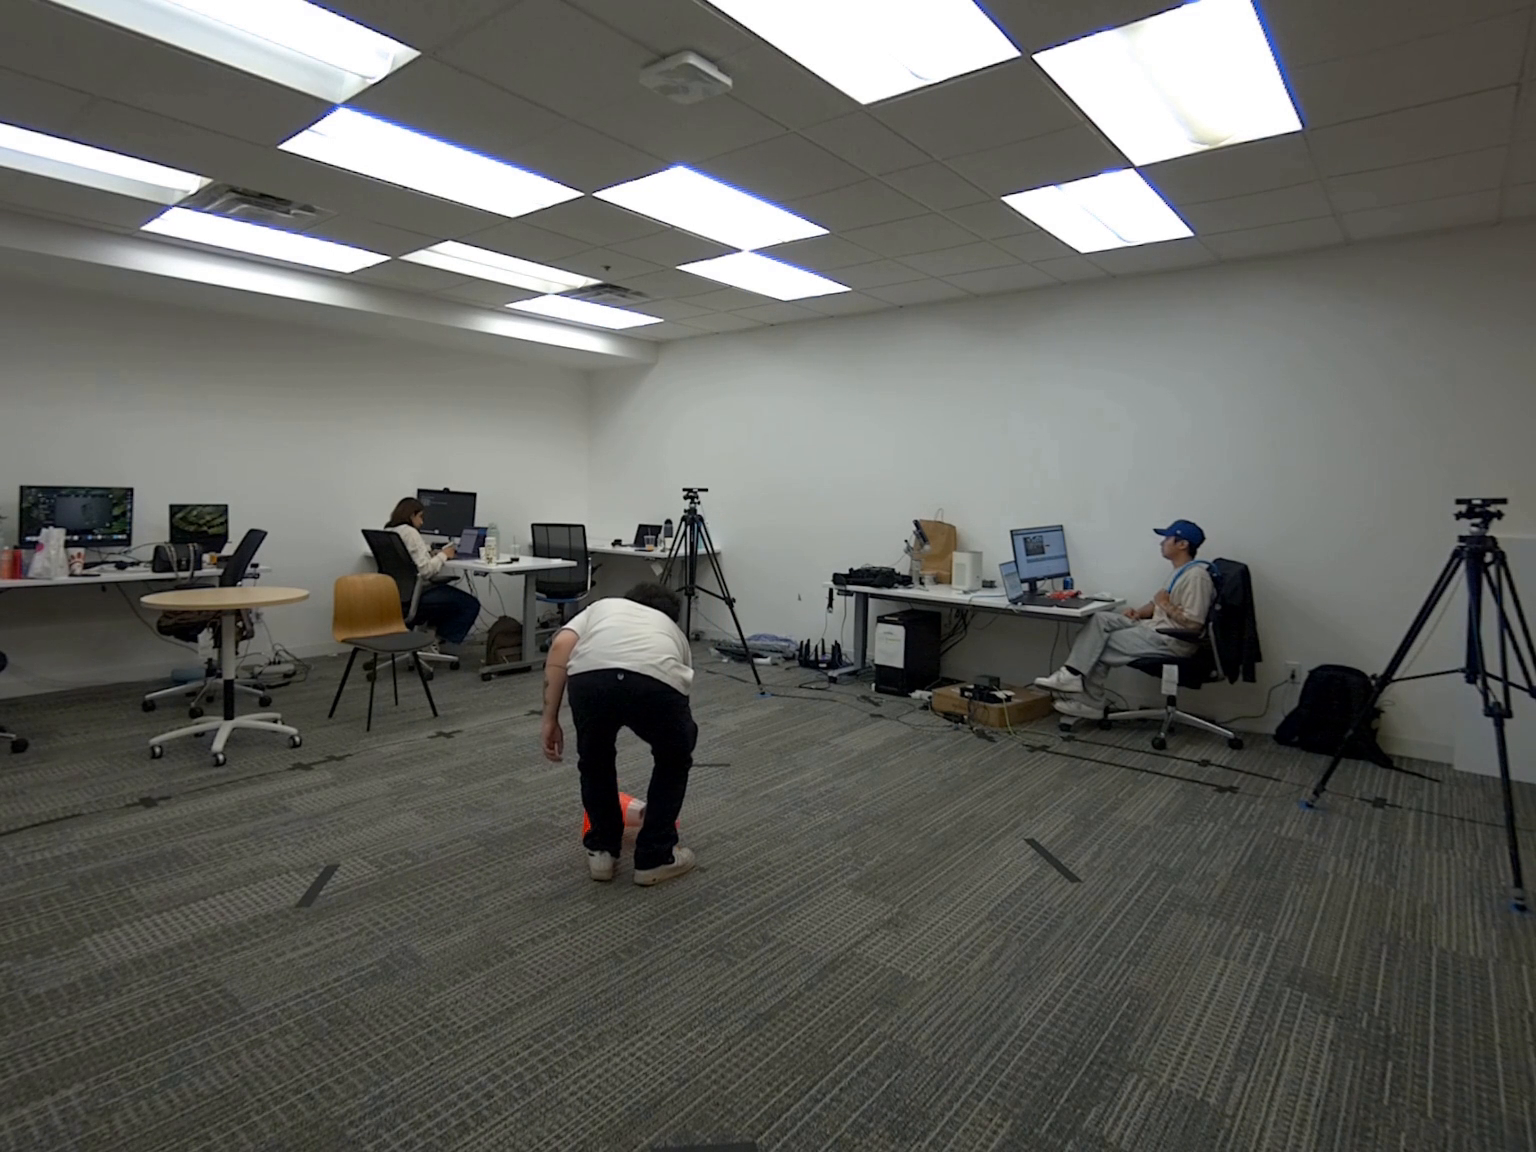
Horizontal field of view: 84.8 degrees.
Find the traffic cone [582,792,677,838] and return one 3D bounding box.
[{"bbox_3d":[-0.521,0.931,3.349,0.395,0.203,0.200,6,5,29],"label":"traffic cone"}]
